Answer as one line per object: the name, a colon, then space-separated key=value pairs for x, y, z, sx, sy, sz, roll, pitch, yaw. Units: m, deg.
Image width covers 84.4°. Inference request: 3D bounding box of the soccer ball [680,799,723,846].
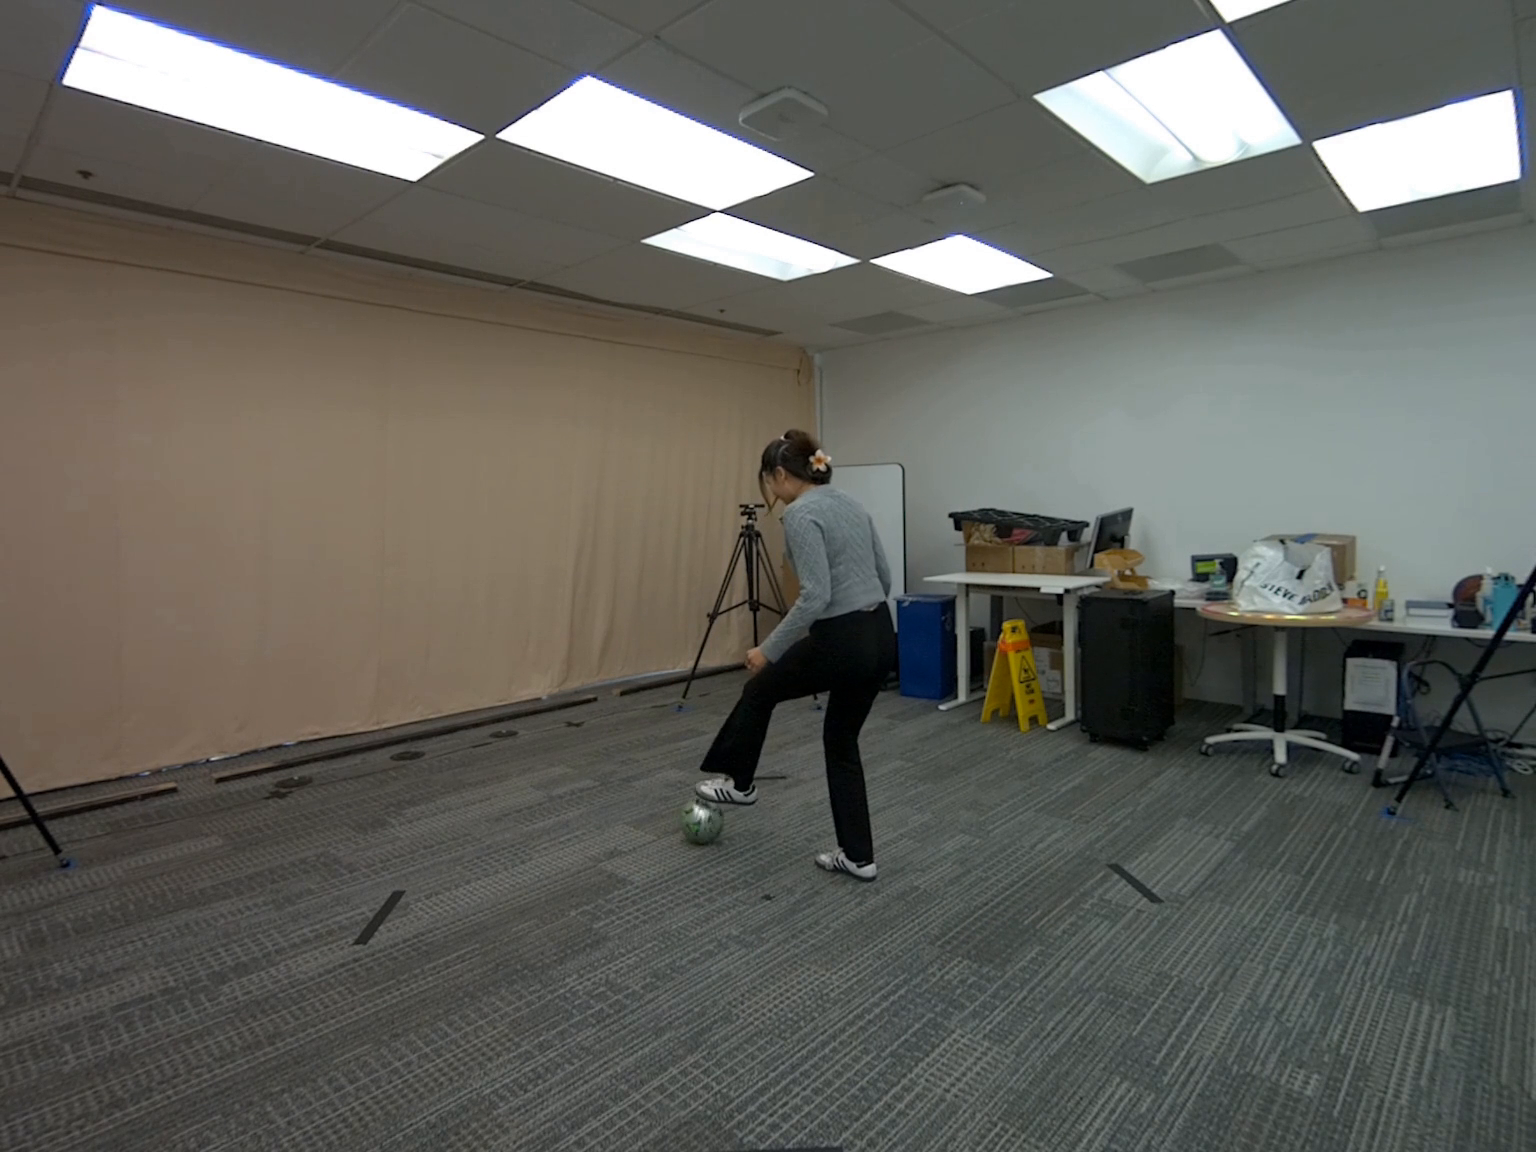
soccer ball: x=-0.266 y=1.009 z=3.472 sx=0.187 sy=0.187 sz=0.188 roll=-1 pitch=4 yaw=-2
